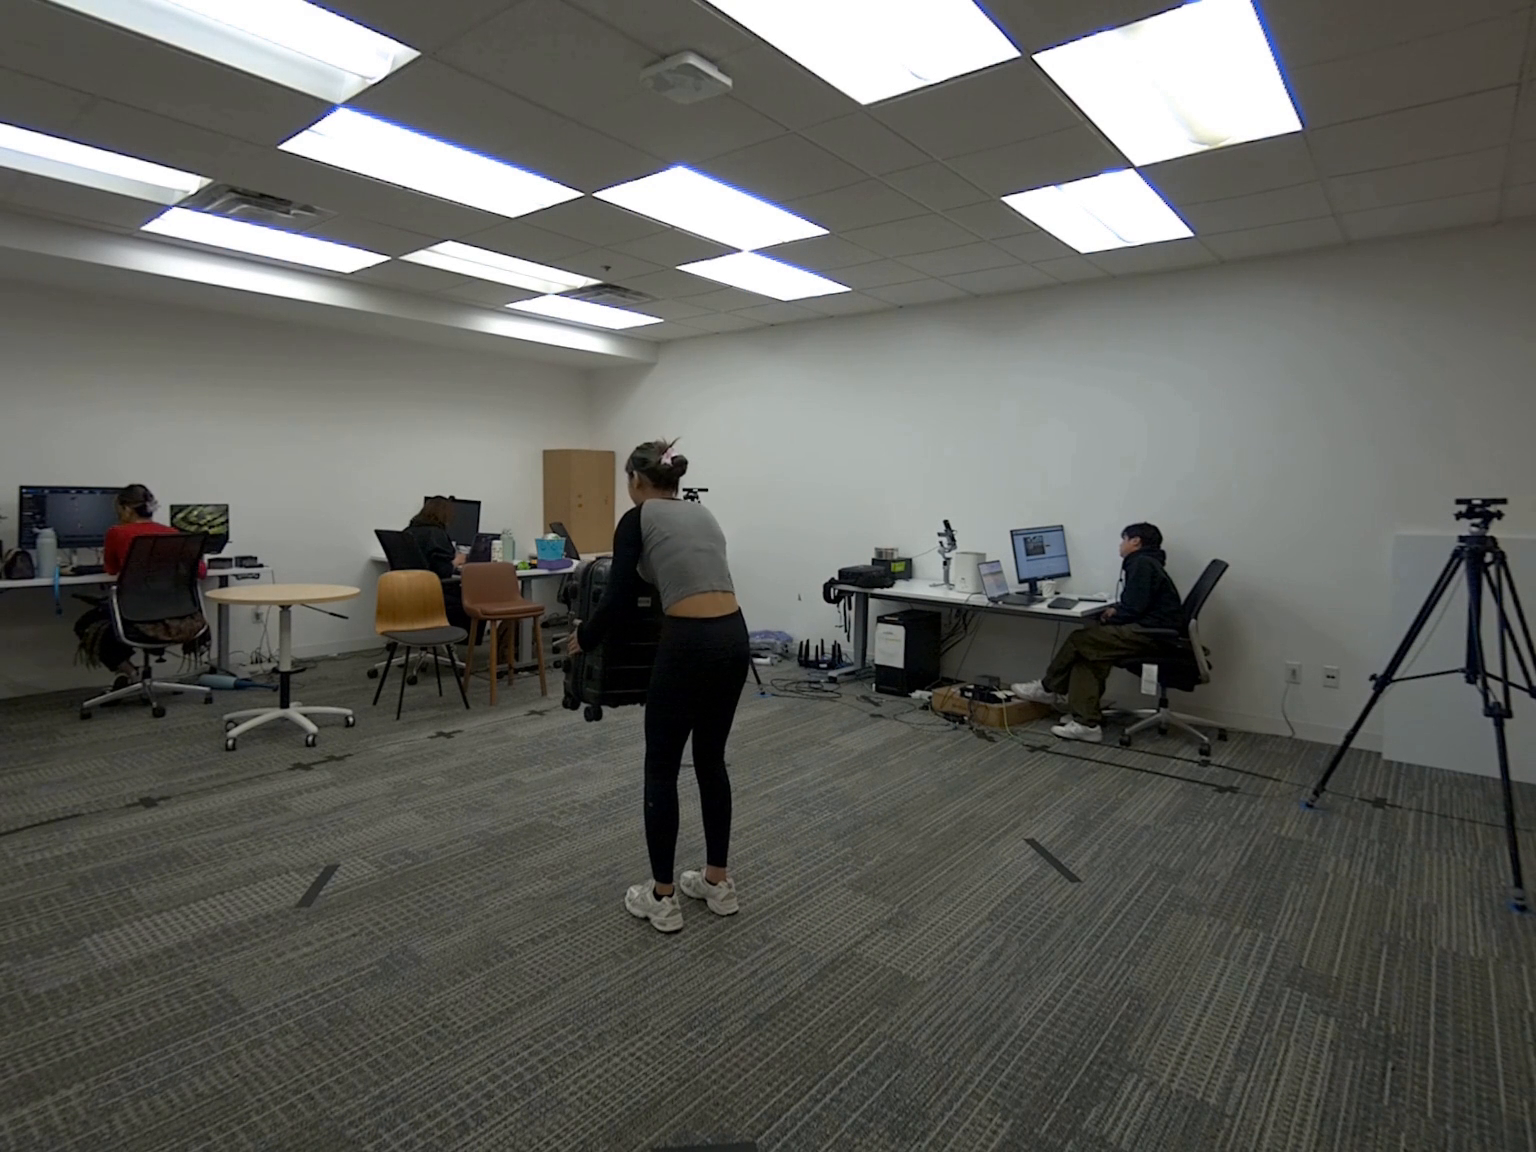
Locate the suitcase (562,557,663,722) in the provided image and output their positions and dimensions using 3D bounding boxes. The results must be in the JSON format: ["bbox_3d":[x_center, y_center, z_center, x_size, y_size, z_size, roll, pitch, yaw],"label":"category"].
[{"bbox_3d":[-0.519,0.212,3.009,0.363,0.549,0.256,4,0,-38],"label":"suitcase"}]
